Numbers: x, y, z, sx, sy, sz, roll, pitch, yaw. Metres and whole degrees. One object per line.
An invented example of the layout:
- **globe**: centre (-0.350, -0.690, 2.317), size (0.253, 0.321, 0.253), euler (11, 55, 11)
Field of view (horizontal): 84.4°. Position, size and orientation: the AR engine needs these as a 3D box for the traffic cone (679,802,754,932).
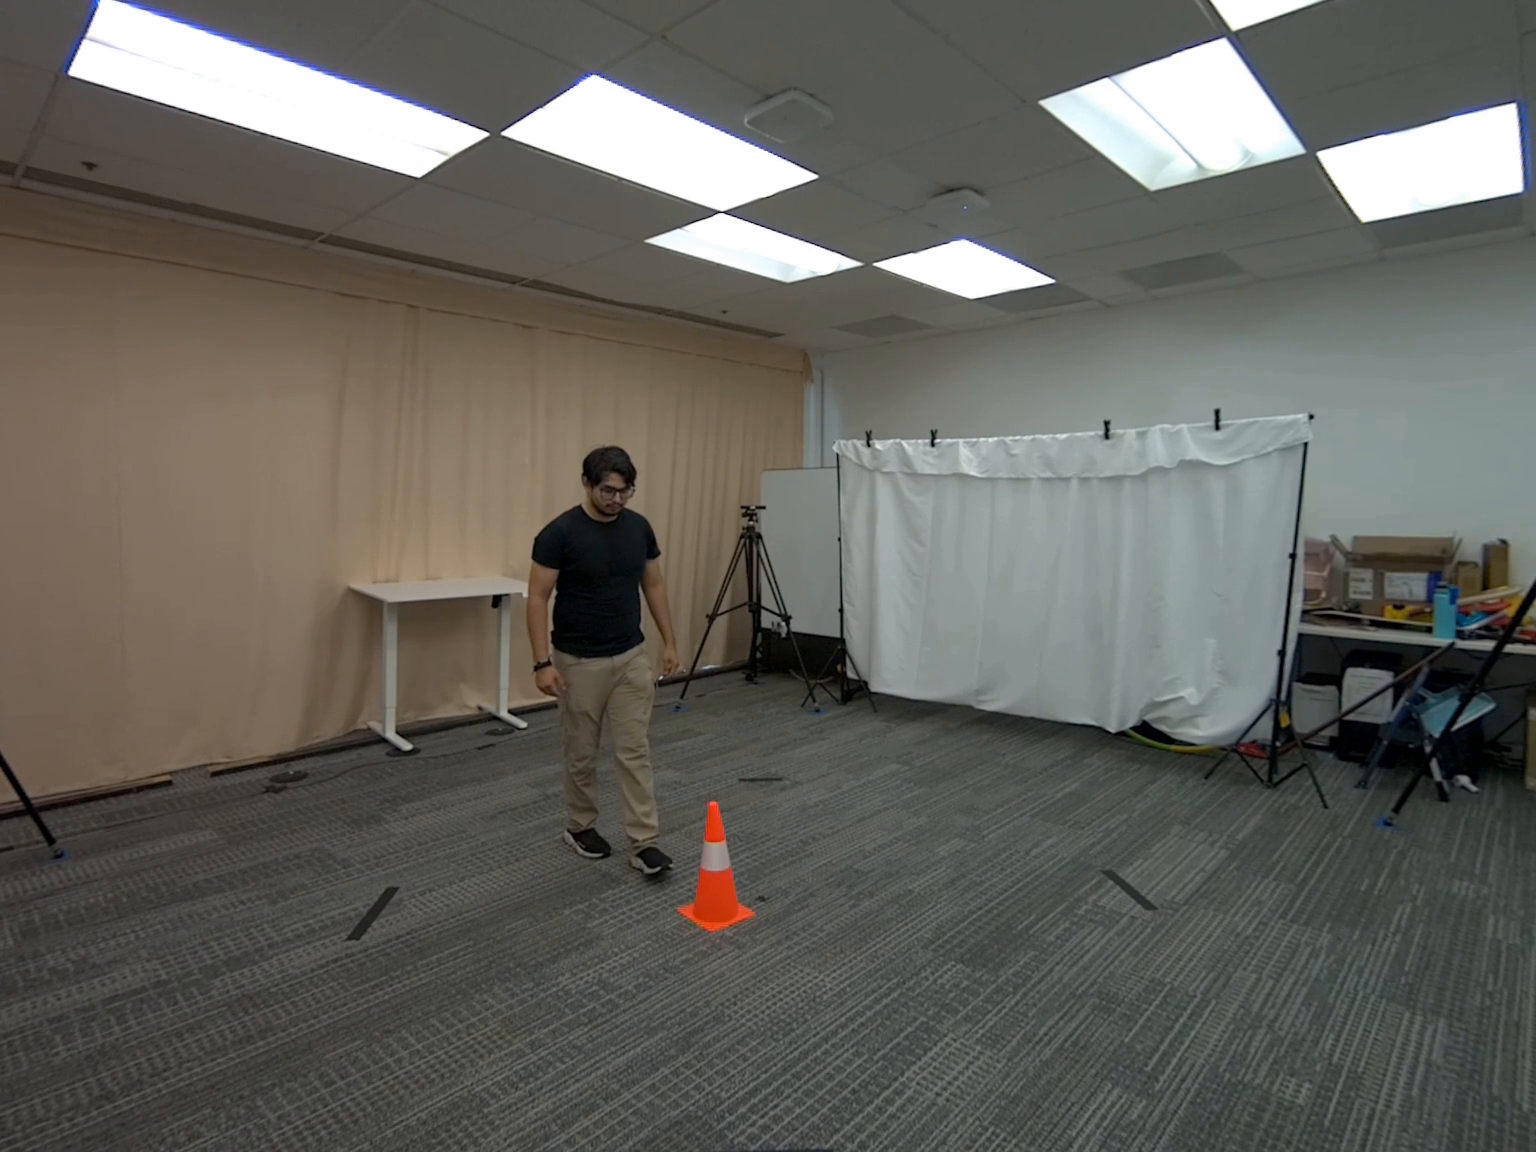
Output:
- **traffic cone**: centre (-0.178, 0.970, 2.875), size (0.197, 0.383, 0.211), euler (-2, 3, -38)
